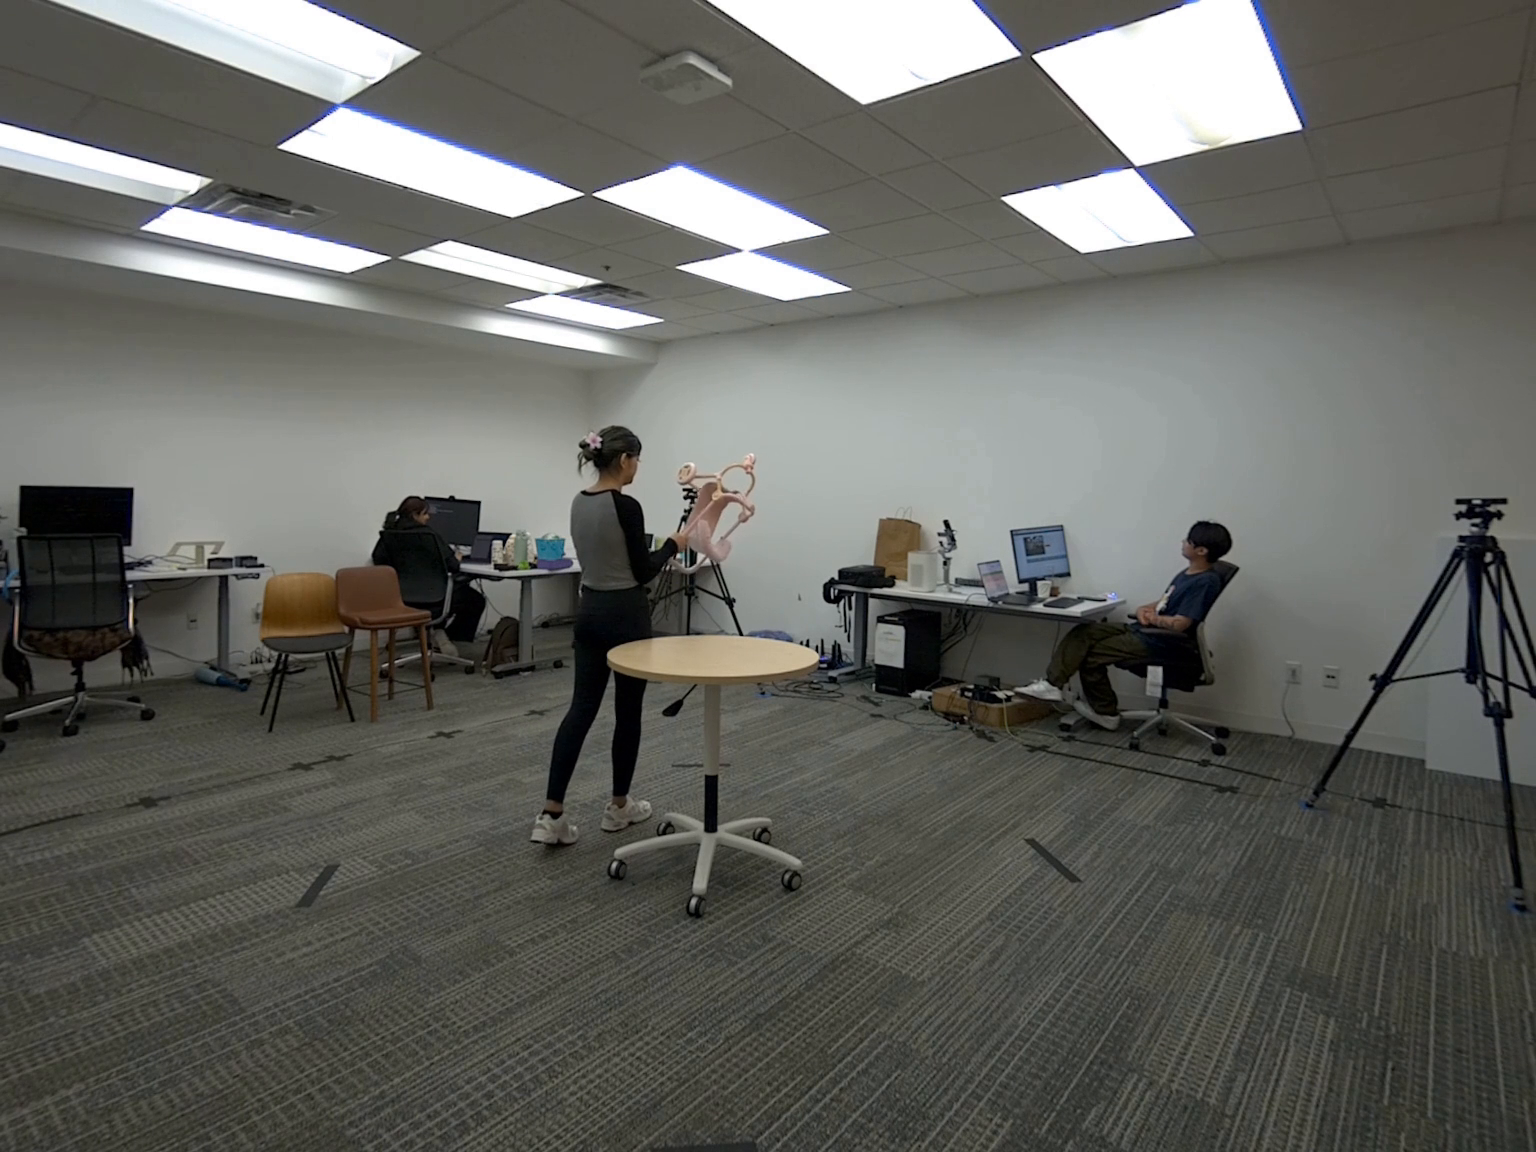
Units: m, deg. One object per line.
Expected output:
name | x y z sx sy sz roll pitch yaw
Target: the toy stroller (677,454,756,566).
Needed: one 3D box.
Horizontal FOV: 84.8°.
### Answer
toy stroller | -0.238 -0.285 3.733 0.349 0.545 0.269 -9 -33 31
